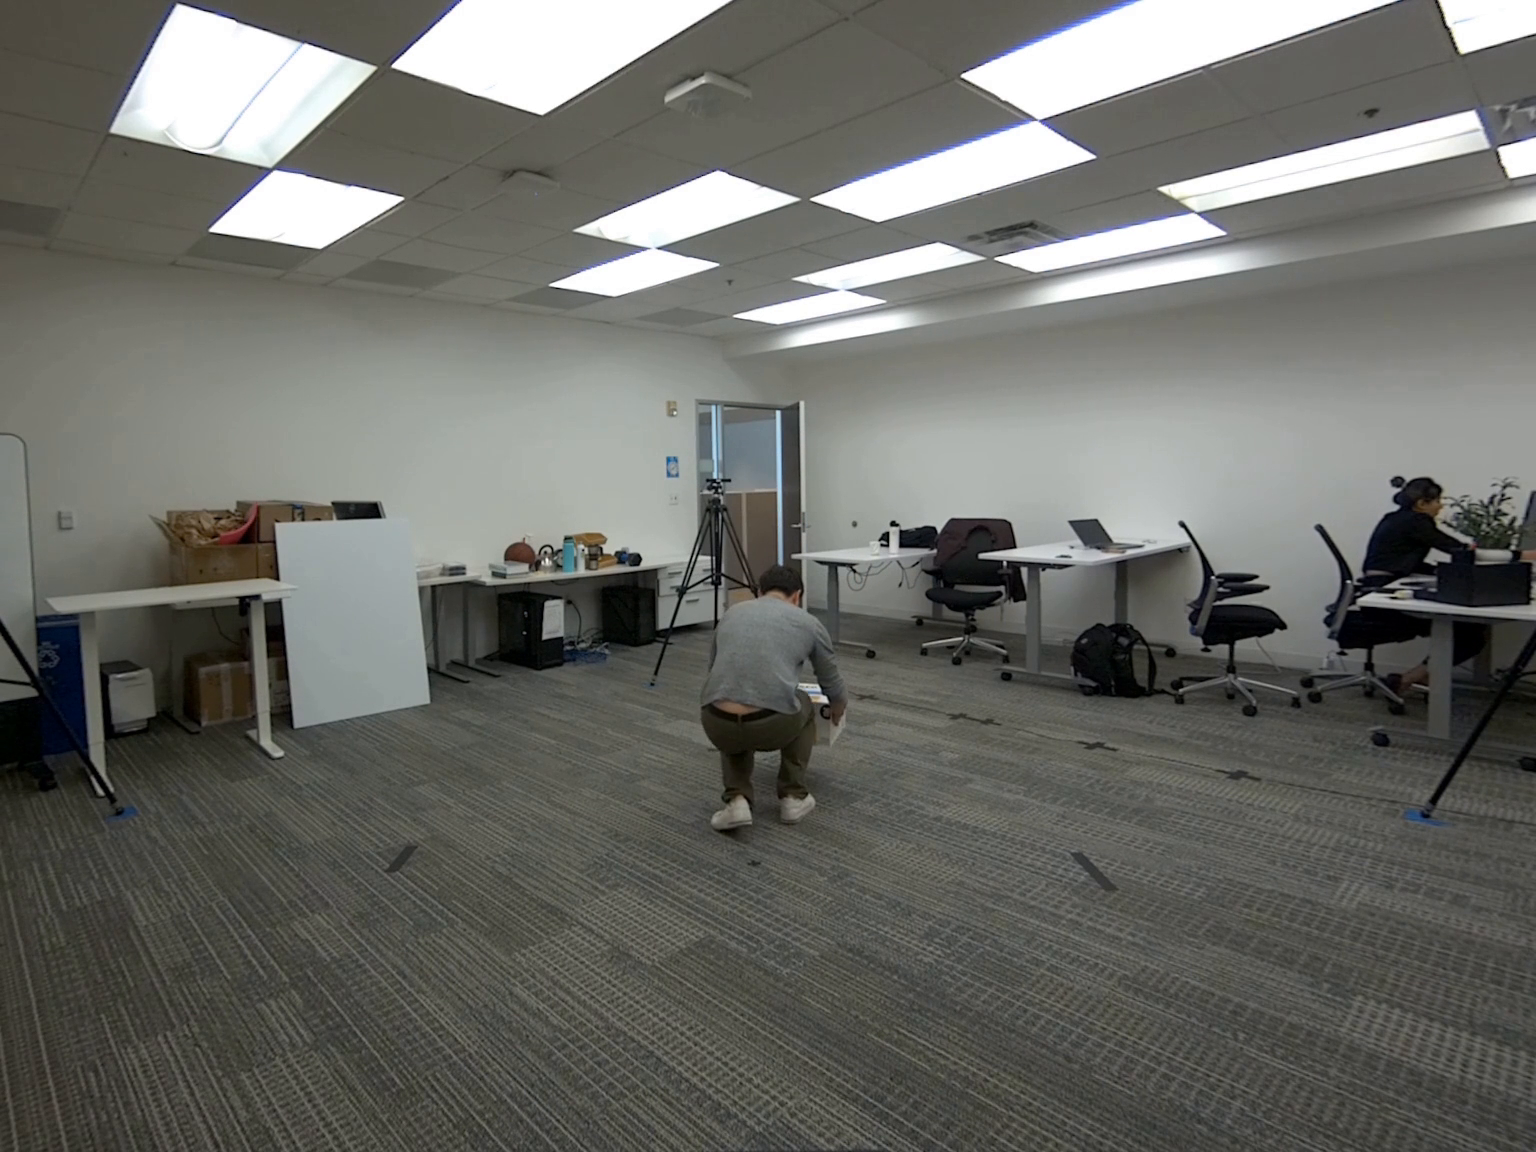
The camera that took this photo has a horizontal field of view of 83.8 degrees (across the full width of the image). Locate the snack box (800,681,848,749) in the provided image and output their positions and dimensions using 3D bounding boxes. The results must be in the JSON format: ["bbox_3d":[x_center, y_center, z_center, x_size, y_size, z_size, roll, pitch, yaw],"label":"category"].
[{"bbox_3d":[0.132,0.627,3.976,0.412,0.205,0.336,2,5,17],"label":"snack box"}]
